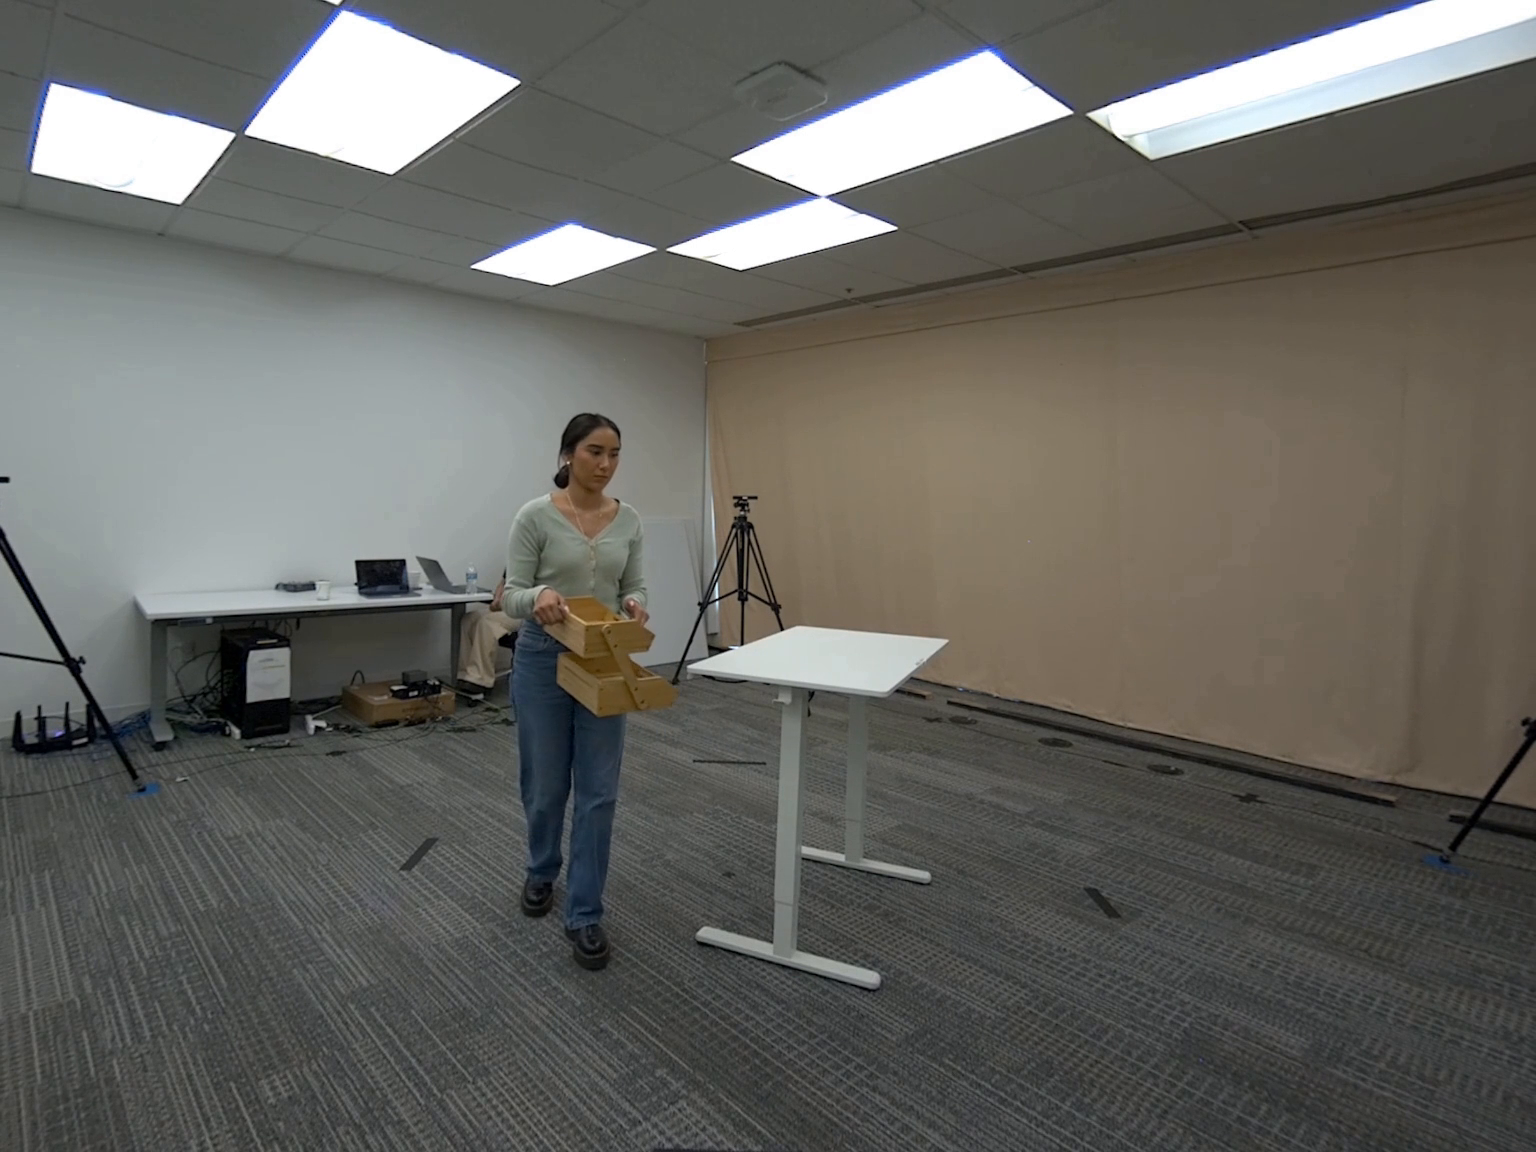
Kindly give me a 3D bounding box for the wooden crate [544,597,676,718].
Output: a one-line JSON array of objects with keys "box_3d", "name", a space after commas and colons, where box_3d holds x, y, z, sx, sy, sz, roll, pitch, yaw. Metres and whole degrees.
[{"box_3d": [-0.449, 0.213, 2.414, 0.296, 0.271, 0.333, -3, 11, -34], "name": "wooden crate"}]
